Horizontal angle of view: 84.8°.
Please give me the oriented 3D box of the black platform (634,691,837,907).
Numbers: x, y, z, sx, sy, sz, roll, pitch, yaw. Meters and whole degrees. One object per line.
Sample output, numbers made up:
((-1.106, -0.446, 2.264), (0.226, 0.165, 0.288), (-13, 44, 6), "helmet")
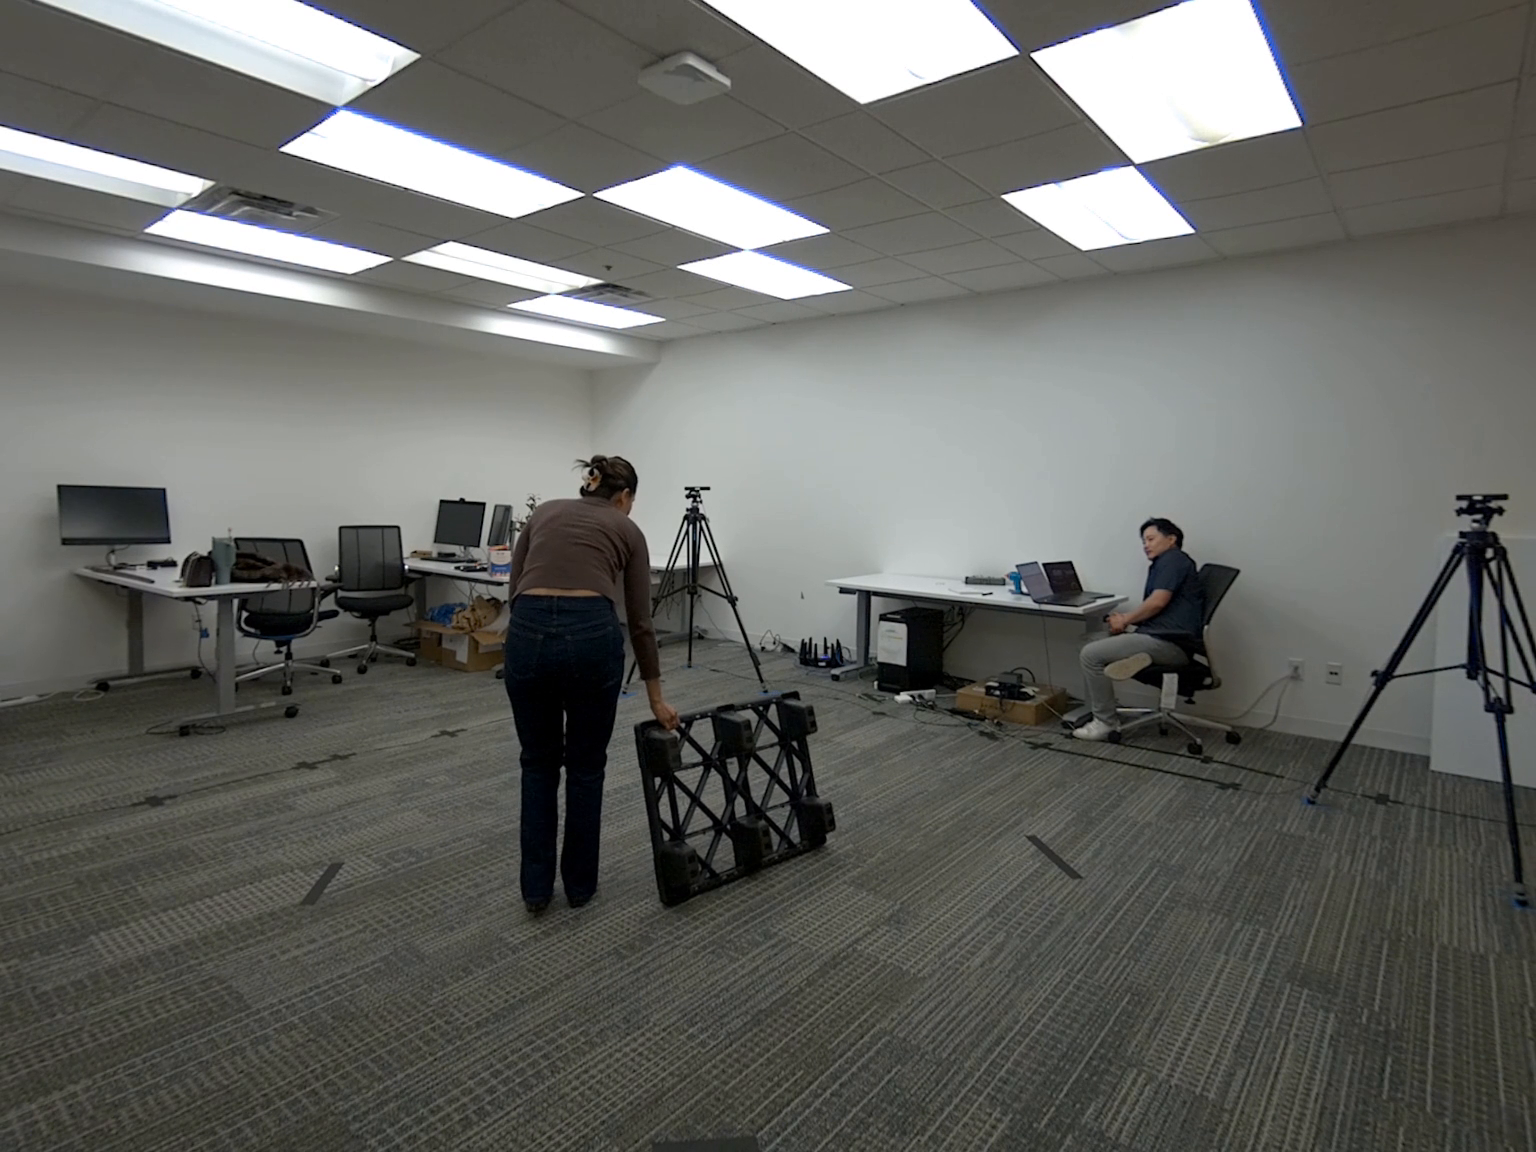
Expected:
((-0.089, 0.767, 3.096), (0.781, 0.612, 0.146), (-3, -13, -41), "black platform")
